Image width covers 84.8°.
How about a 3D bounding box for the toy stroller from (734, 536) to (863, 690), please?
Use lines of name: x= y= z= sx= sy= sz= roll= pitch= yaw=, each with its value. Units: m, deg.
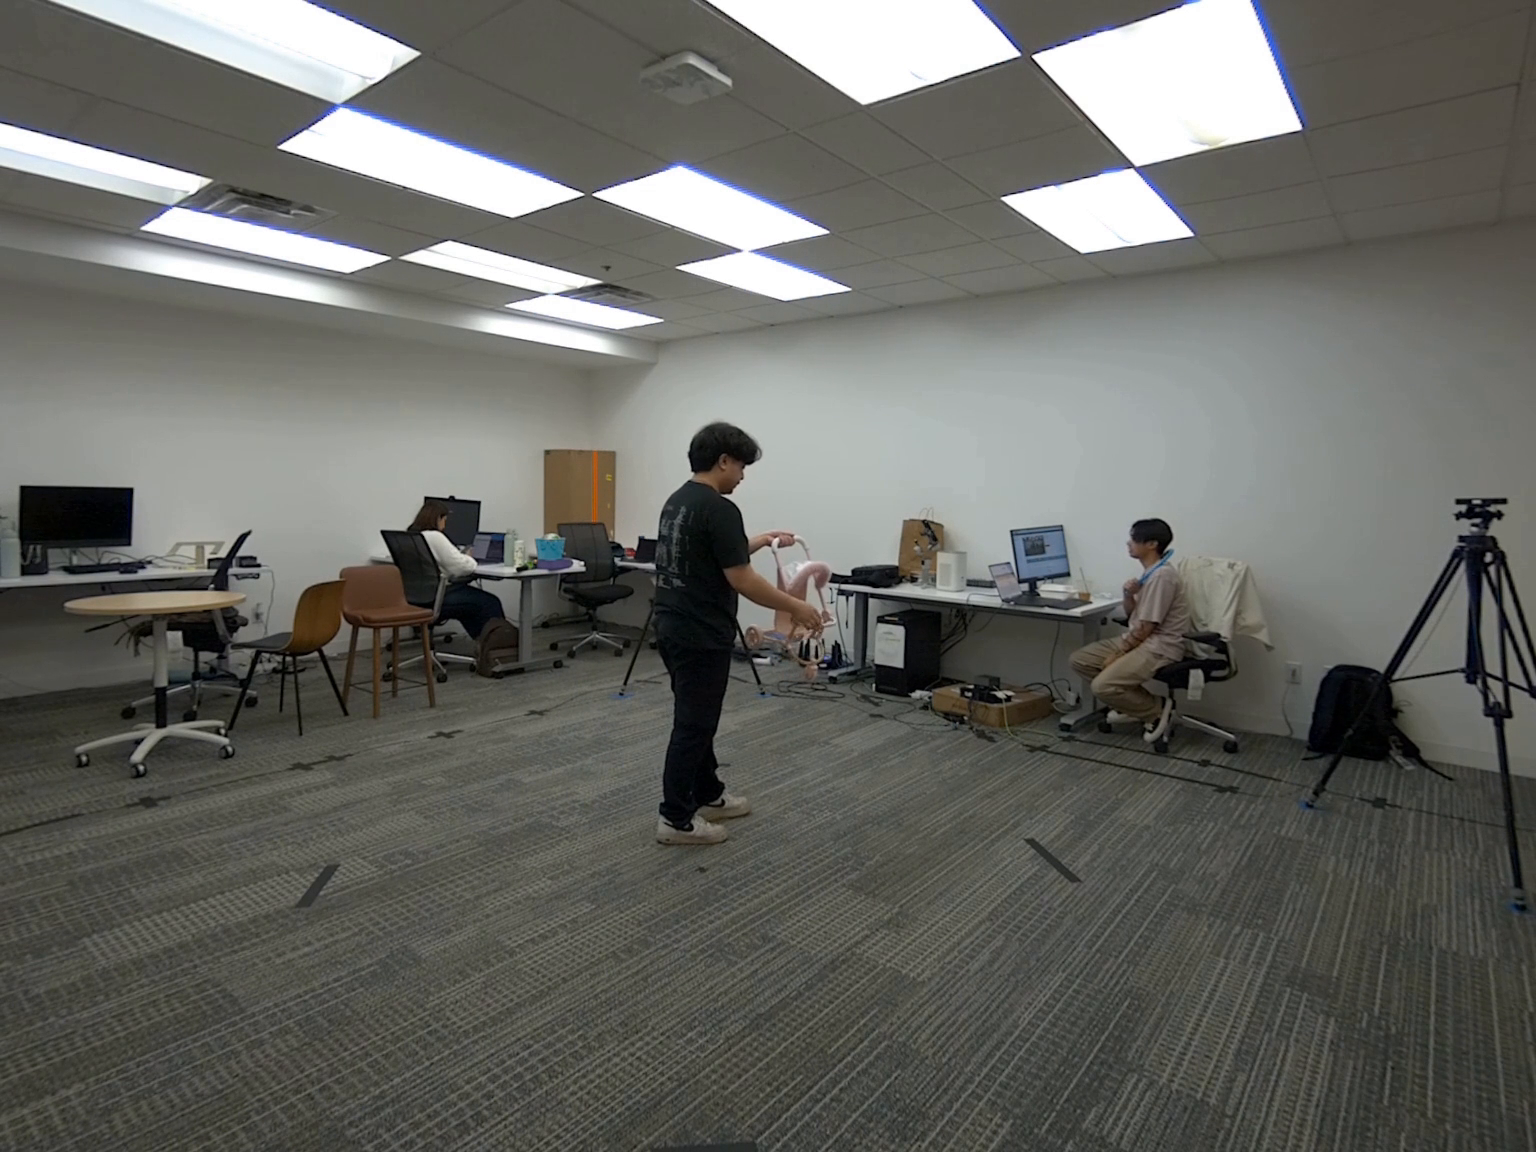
toy stroller: x=0.120 y=0.141 z=3.563 sx=0.273 sy=0.529 sz=0.356 roll=-1 pitch=21 yaw=-39
